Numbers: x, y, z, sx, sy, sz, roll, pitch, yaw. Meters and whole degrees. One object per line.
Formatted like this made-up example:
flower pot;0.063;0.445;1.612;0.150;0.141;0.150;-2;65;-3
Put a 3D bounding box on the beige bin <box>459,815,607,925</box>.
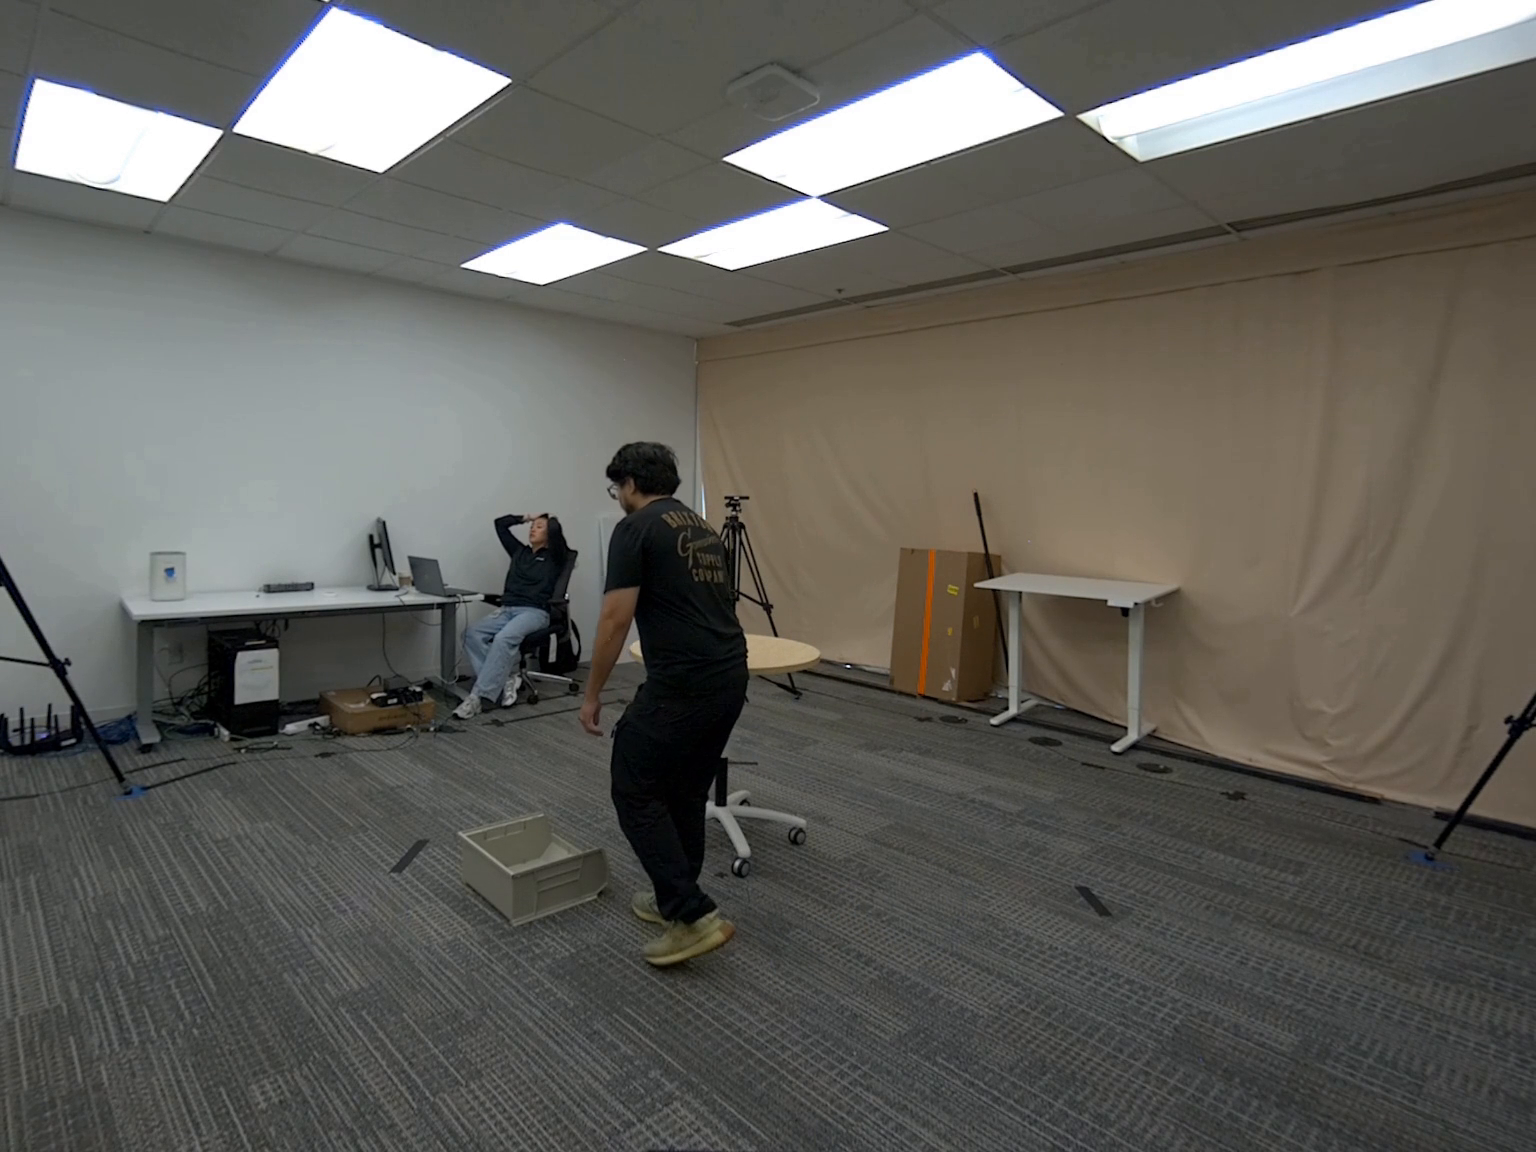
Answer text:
beige bin;-0.831;1.015;2.960;0.369;0.188;0.433;-4;8;-42
